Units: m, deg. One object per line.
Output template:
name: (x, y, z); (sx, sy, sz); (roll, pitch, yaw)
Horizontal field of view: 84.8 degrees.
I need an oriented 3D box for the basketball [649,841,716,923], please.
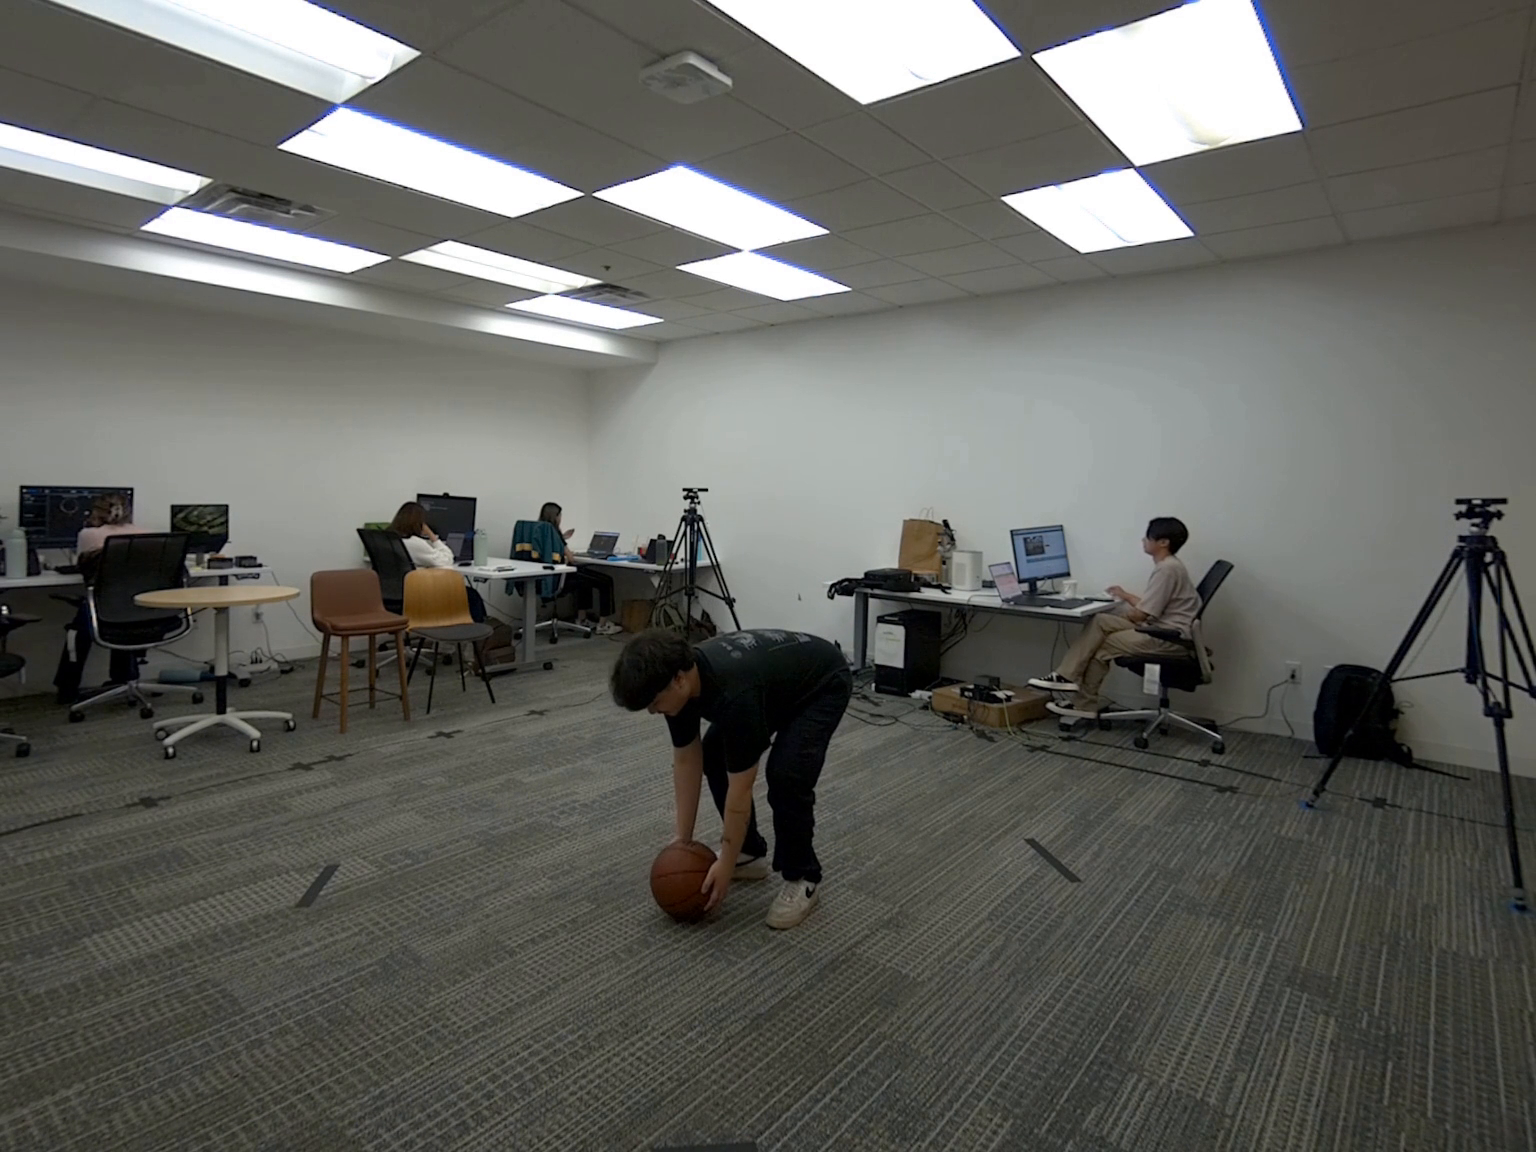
basketball: (-0.276, 0.977, 2.760); (0.235, 0.235, 0.237); (1, 4, -2)
